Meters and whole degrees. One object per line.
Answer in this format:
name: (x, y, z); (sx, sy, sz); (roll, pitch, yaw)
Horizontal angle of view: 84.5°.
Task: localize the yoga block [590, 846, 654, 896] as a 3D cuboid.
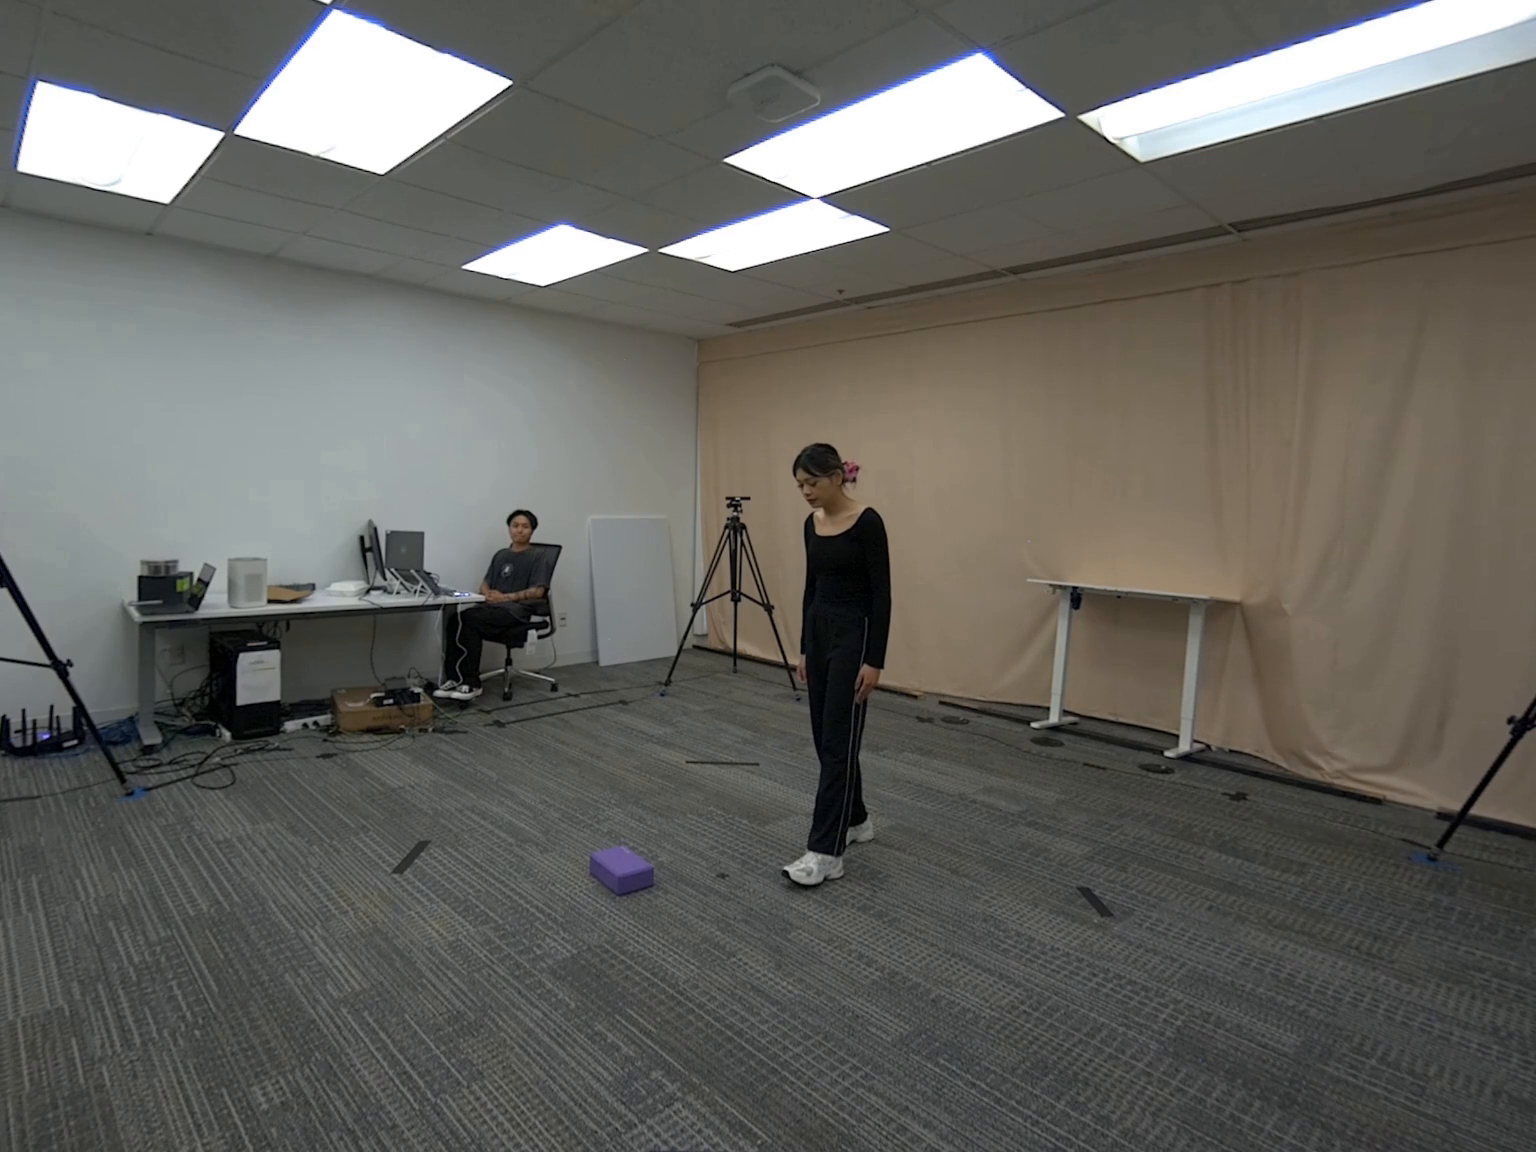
yoga block: (-0.540, 1.065, 3.048); (0.146, 0.076, 0.235); (-3, 6, -37)
